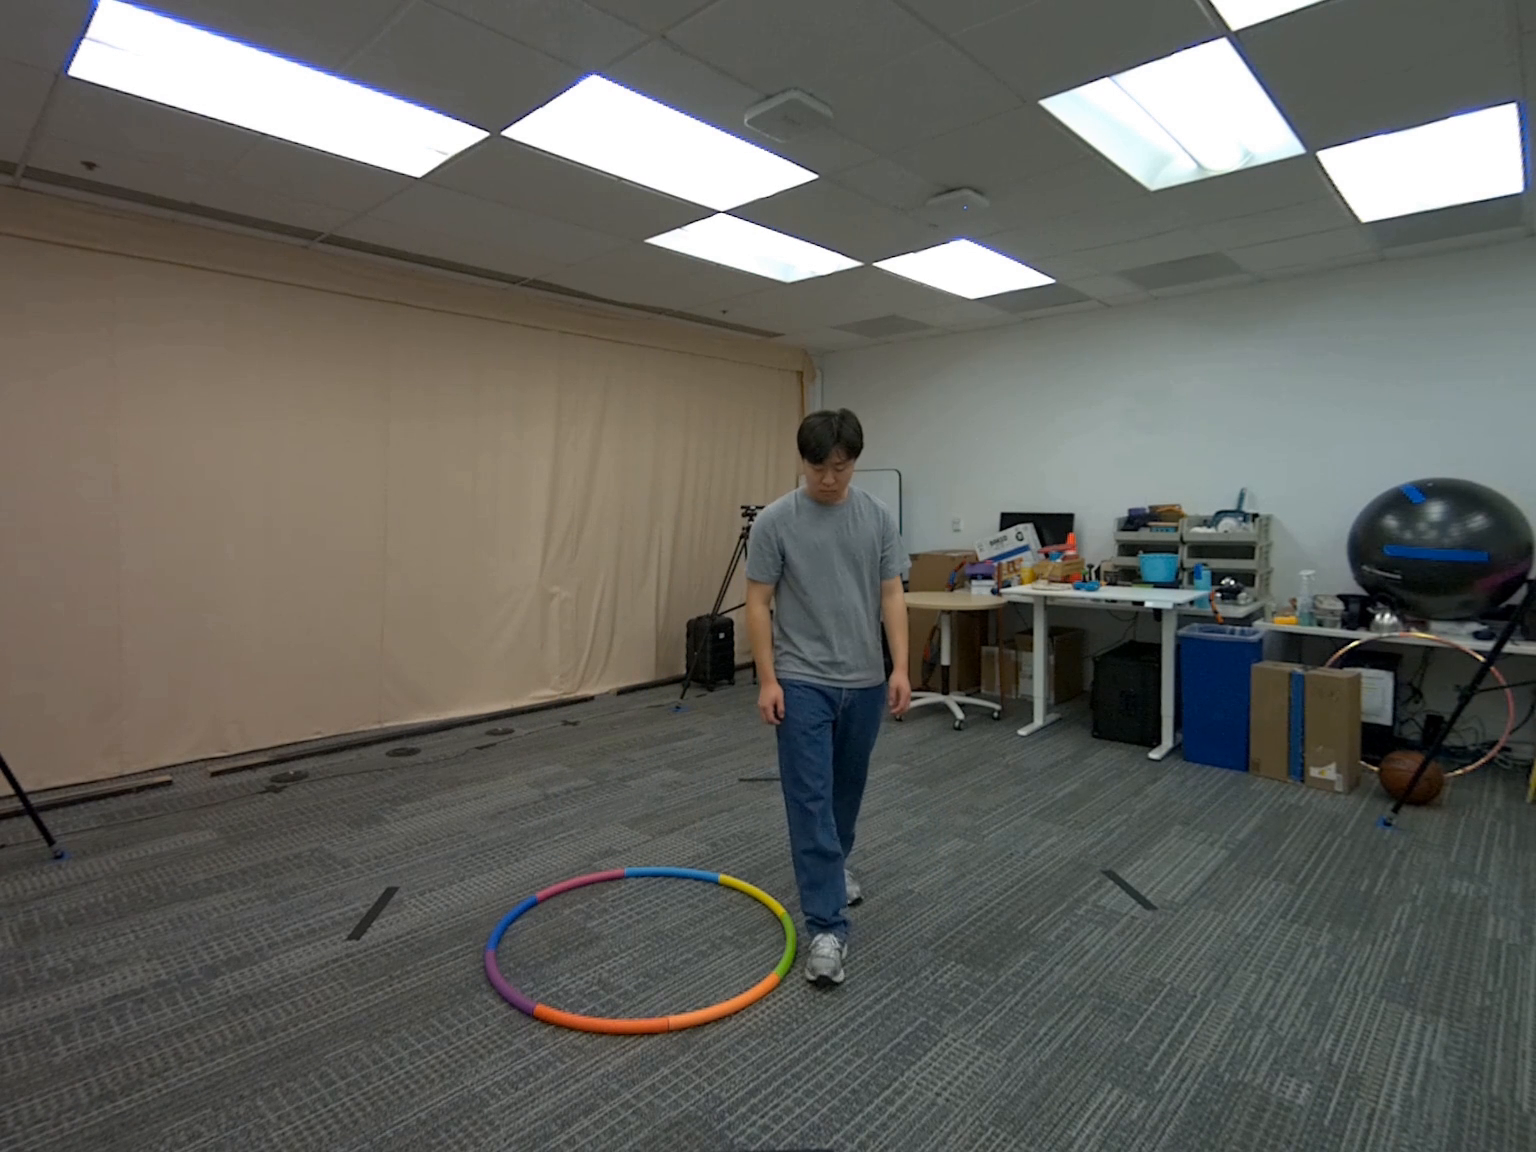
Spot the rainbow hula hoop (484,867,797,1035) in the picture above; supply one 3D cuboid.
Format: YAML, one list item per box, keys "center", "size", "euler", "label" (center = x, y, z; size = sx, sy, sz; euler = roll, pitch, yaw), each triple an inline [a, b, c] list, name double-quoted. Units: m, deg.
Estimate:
- center: [-0.395, 1.142, 2.704]
  size: [0.978, 0.035, 0.982]
  euler: [-1, 4, -2]
  label: "rainbow hula hoop"
